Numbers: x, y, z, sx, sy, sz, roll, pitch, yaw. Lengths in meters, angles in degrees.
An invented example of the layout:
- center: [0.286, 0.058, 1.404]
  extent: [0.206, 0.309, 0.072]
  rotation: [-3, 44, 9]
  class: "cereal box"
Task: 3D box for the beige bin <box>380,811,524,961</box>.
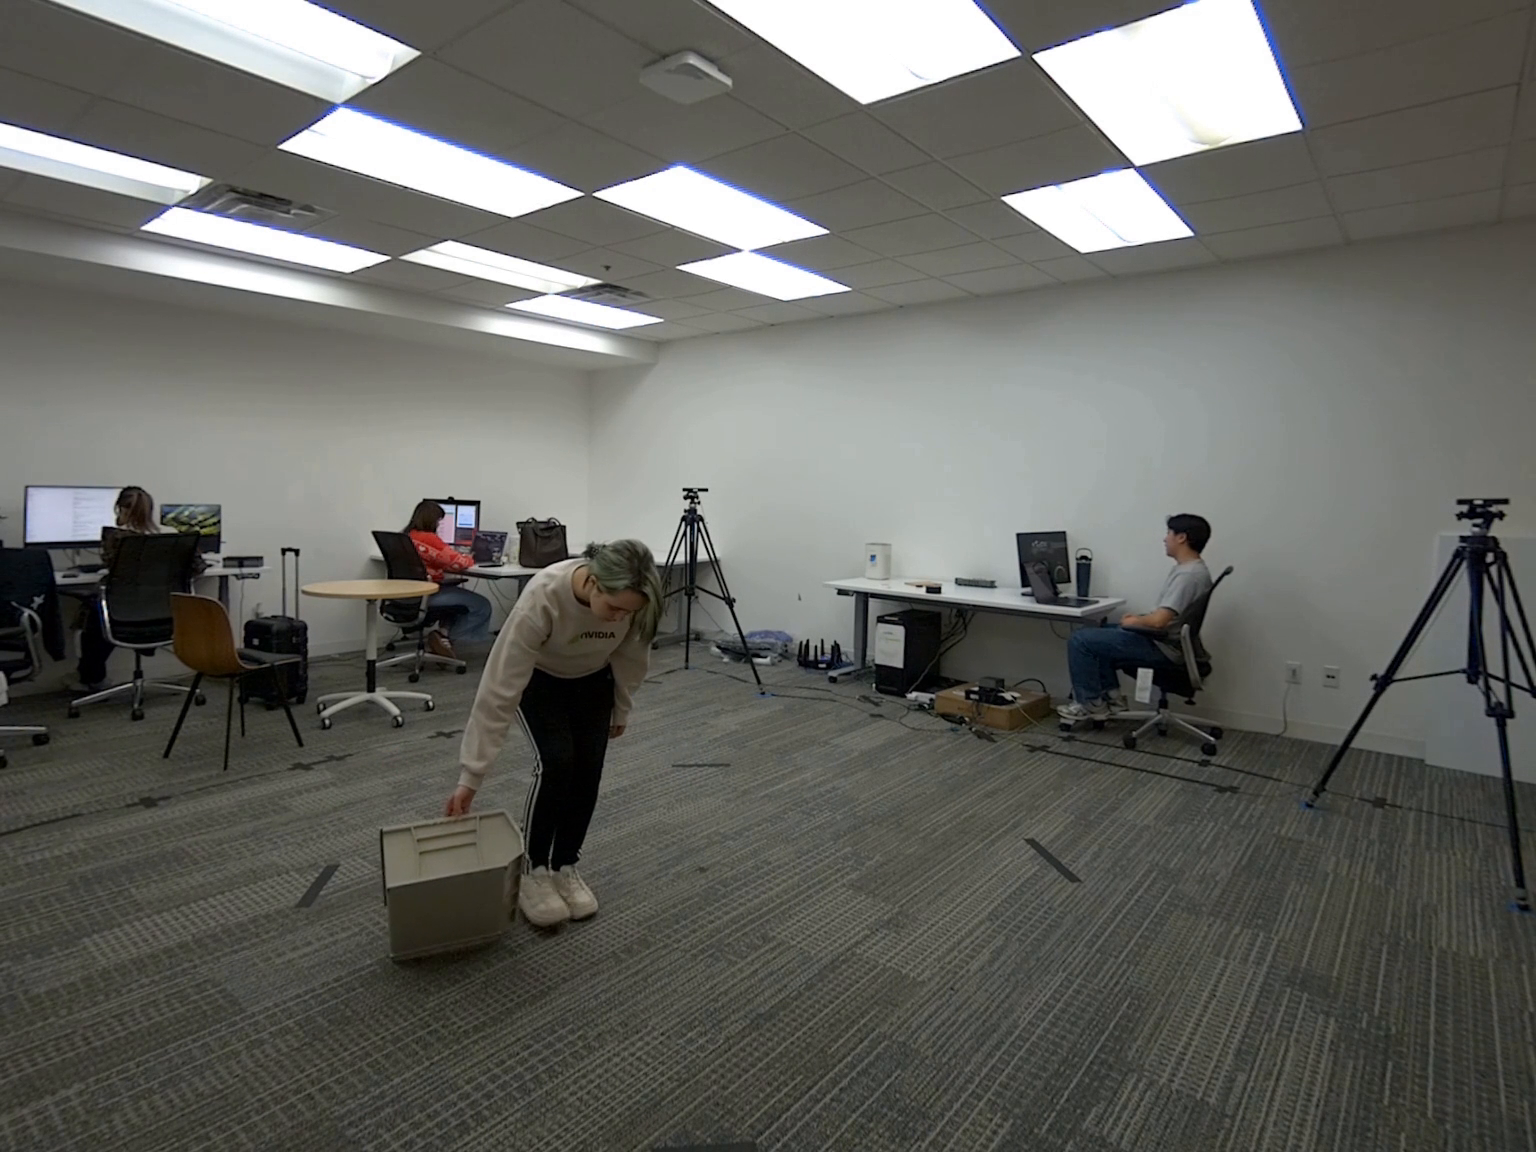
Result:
- center: [-0.935, 0.903, 2.470]
  extent: [0.369, 0.415, 0.196]
  rotation: [-3, 43, -23]
  class: "beige bin"
